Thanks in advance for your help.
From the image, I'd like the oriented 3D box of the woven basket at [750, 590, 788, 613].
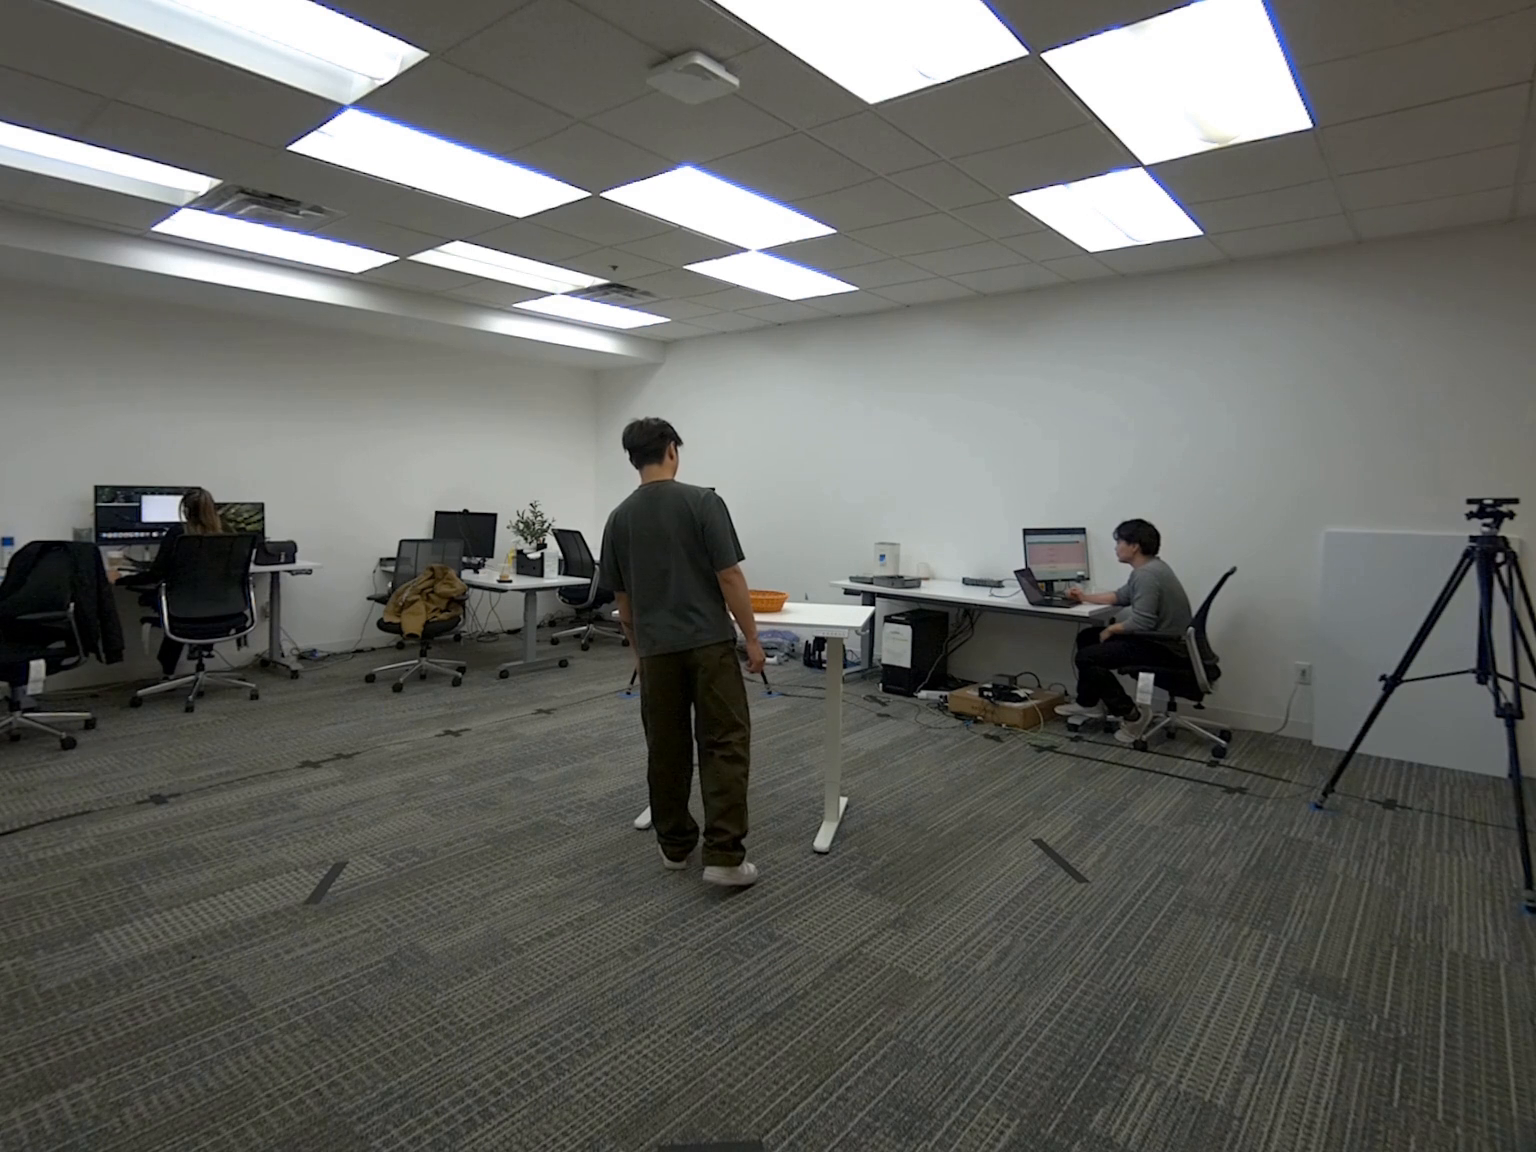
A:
[{"bbox_3d":[-0.086,0.106,3.610,0.357,0.073,0.248,3,5,18],"label":"woven basket"}]
